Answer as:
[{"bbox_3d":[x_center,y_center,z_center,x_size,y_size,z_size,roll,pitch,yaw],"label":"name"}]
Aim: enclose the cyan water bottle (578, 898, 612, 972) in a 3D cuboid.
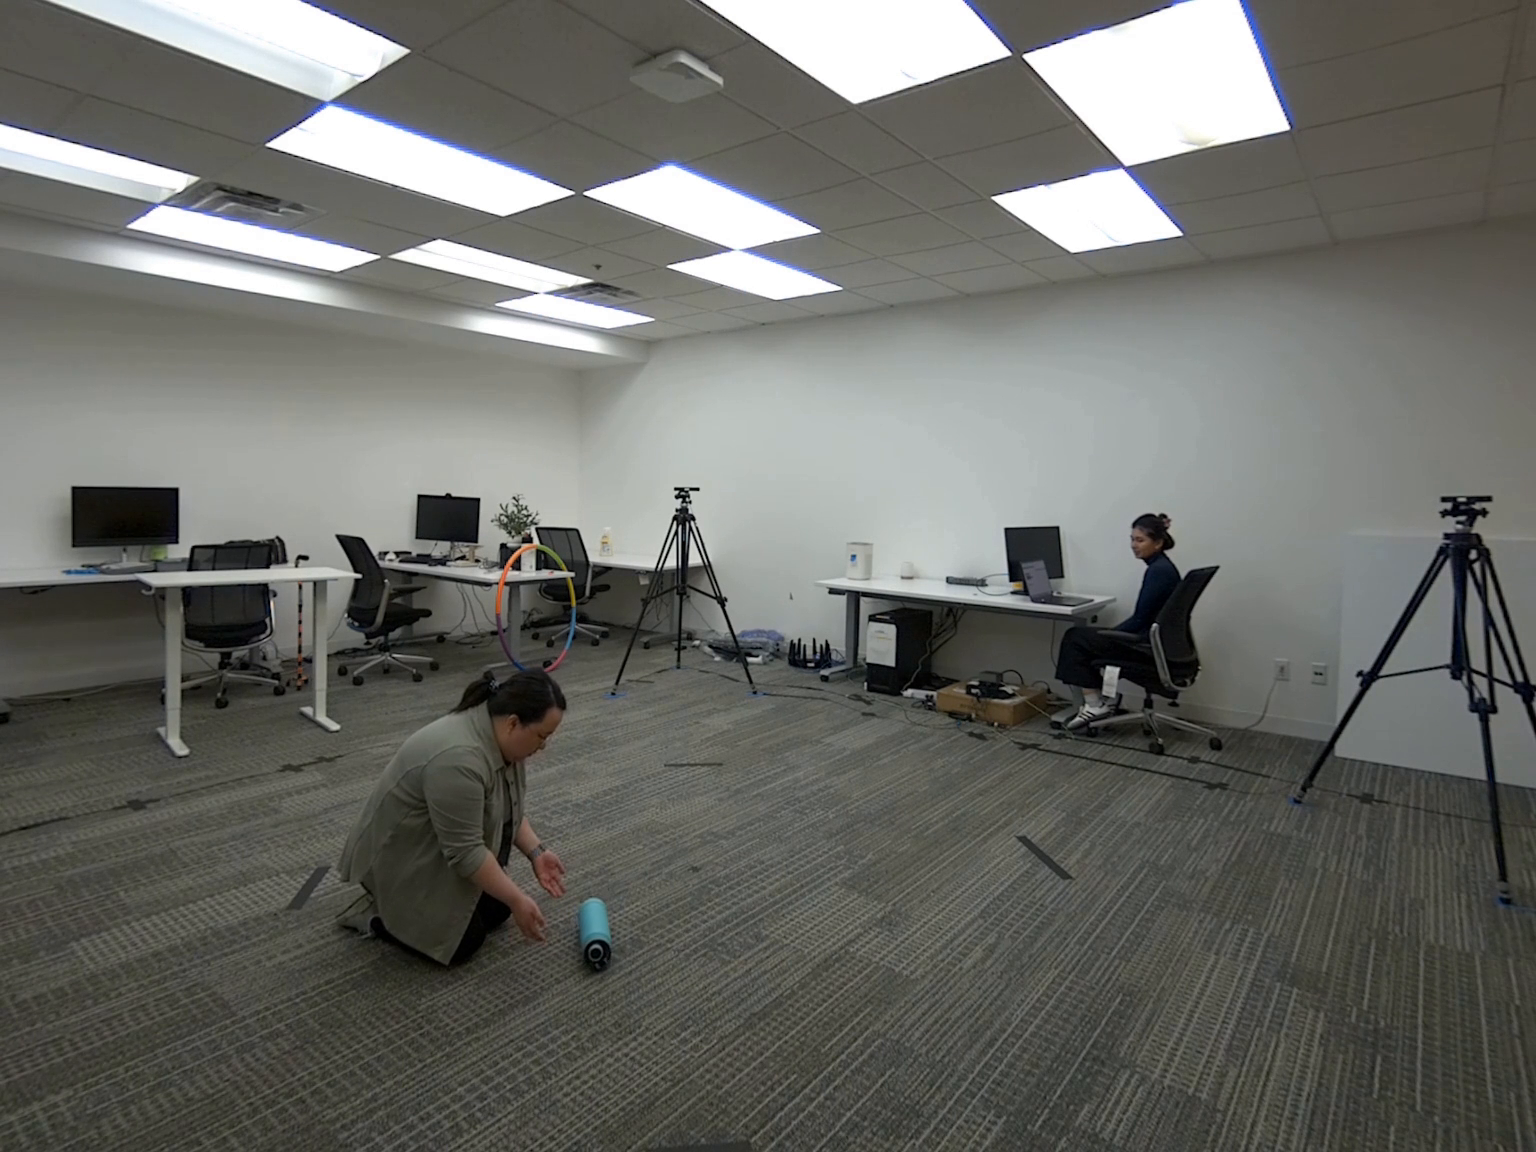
[{"bbox_3d":[-0.528,1.074,2.539,0.091,0.092,0.289,0,5,-16],"label":"cyan water bottle"}]
